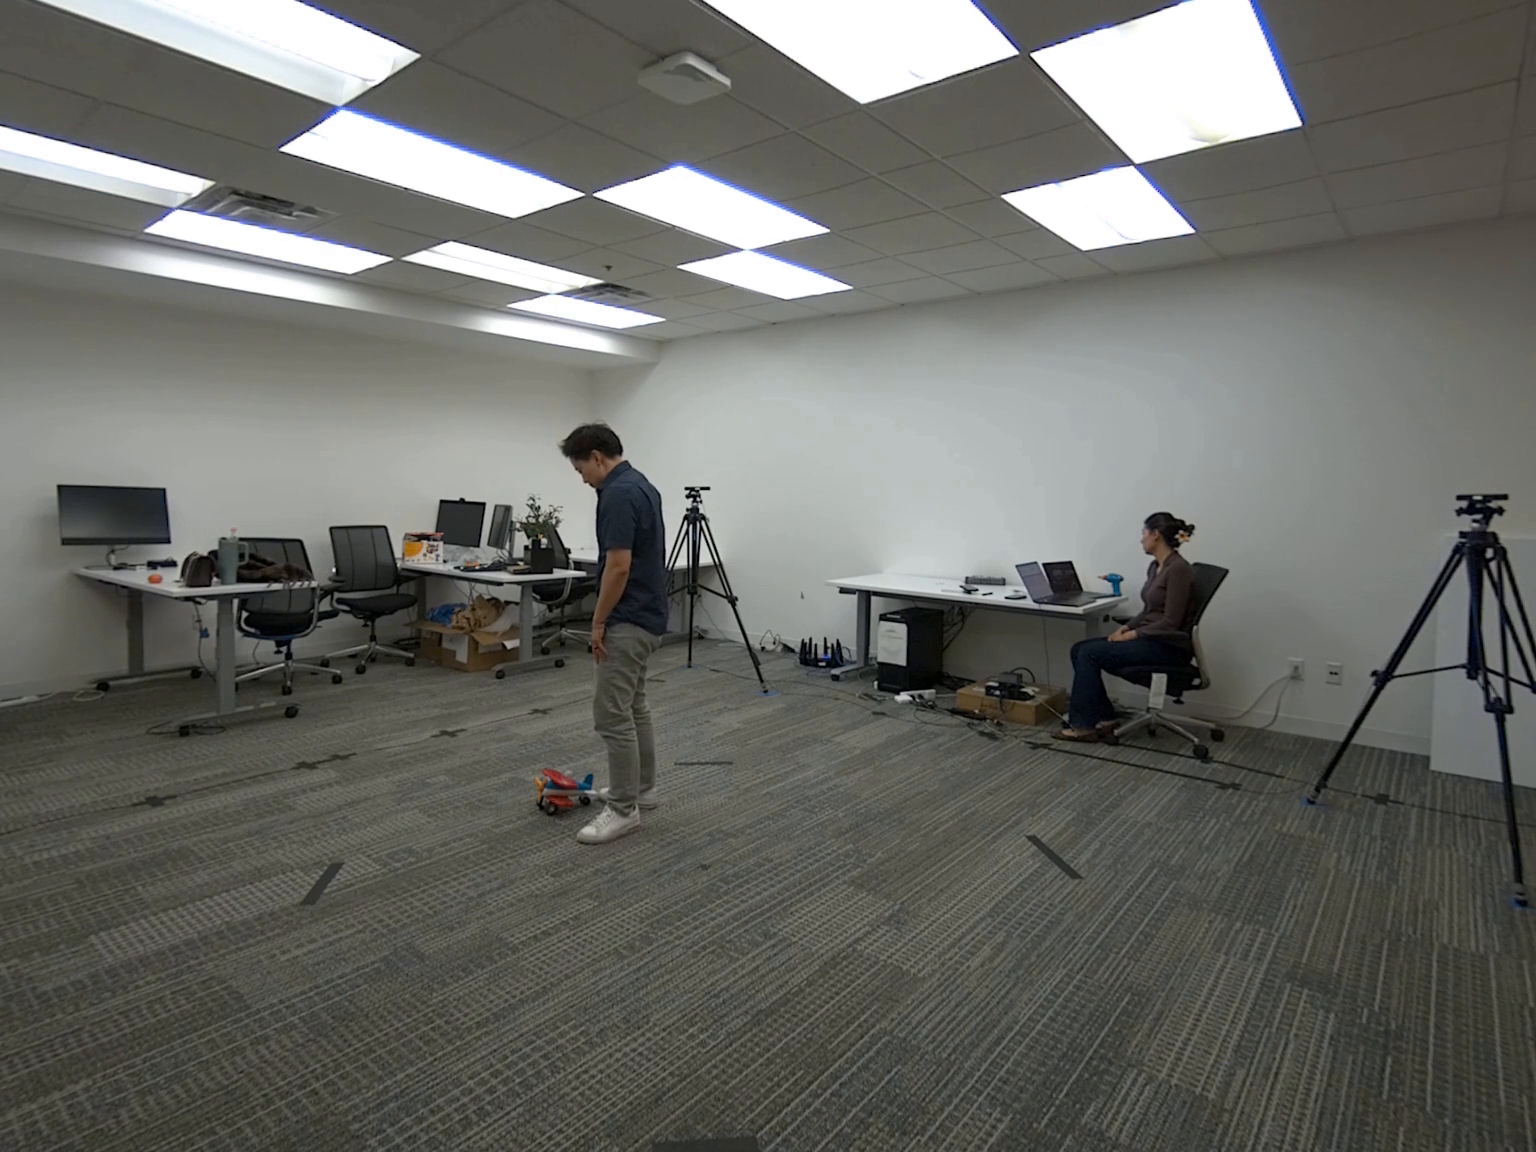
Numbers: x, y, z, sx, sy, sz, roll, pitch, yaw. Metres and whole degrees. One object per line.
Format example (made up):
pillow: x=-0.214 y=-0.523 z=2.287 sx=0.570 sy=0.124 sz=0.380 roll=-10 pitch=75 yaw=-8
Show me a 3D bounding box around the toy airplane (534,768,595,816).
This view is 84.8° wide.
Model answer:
toy airplane: x=-0.911 y=0.931 z=3.697 sx=0.258 sy=0.156 sz=0.254 roll=1 pitch=6 yaw=26
